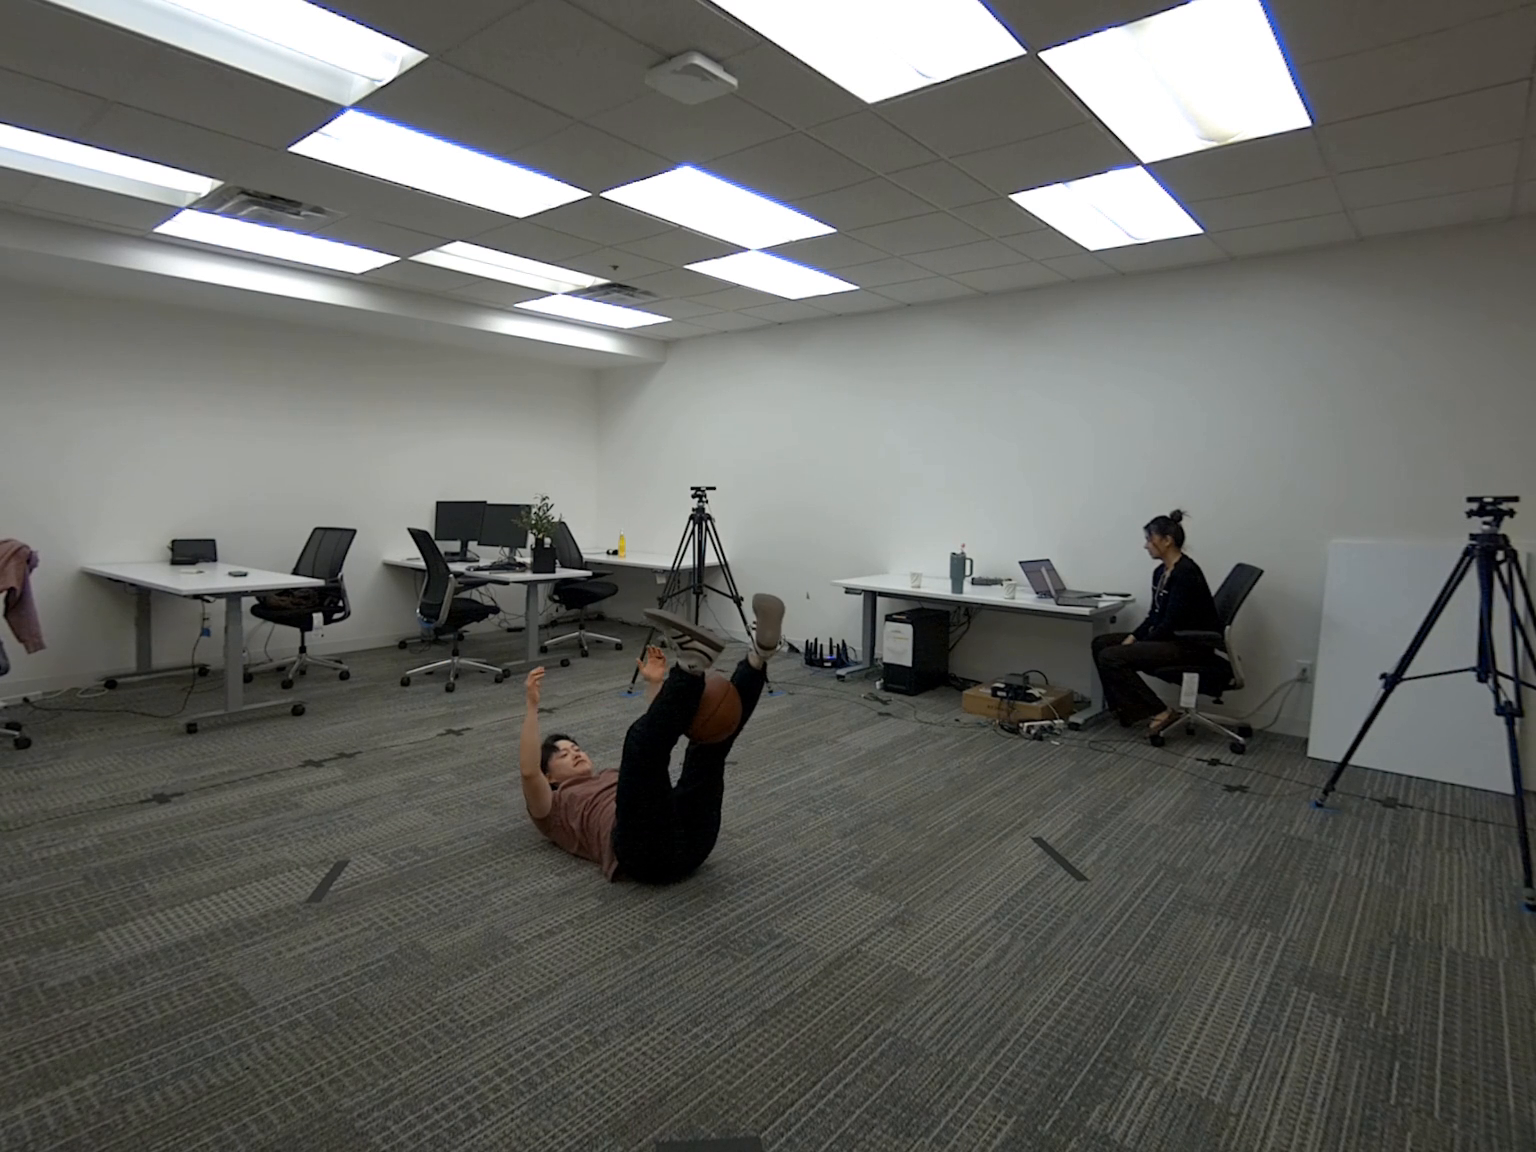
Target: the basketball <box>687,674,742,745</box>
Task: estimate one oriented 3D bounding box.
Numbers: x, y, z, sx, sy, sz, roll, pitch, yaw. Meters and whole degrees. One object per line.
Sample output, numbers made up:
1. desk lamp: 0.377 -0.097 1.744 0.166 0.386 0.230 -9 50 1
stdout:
1. basketball: -0.215 0.452 2.883 0.235 0.235 0.237 1 5 -2
